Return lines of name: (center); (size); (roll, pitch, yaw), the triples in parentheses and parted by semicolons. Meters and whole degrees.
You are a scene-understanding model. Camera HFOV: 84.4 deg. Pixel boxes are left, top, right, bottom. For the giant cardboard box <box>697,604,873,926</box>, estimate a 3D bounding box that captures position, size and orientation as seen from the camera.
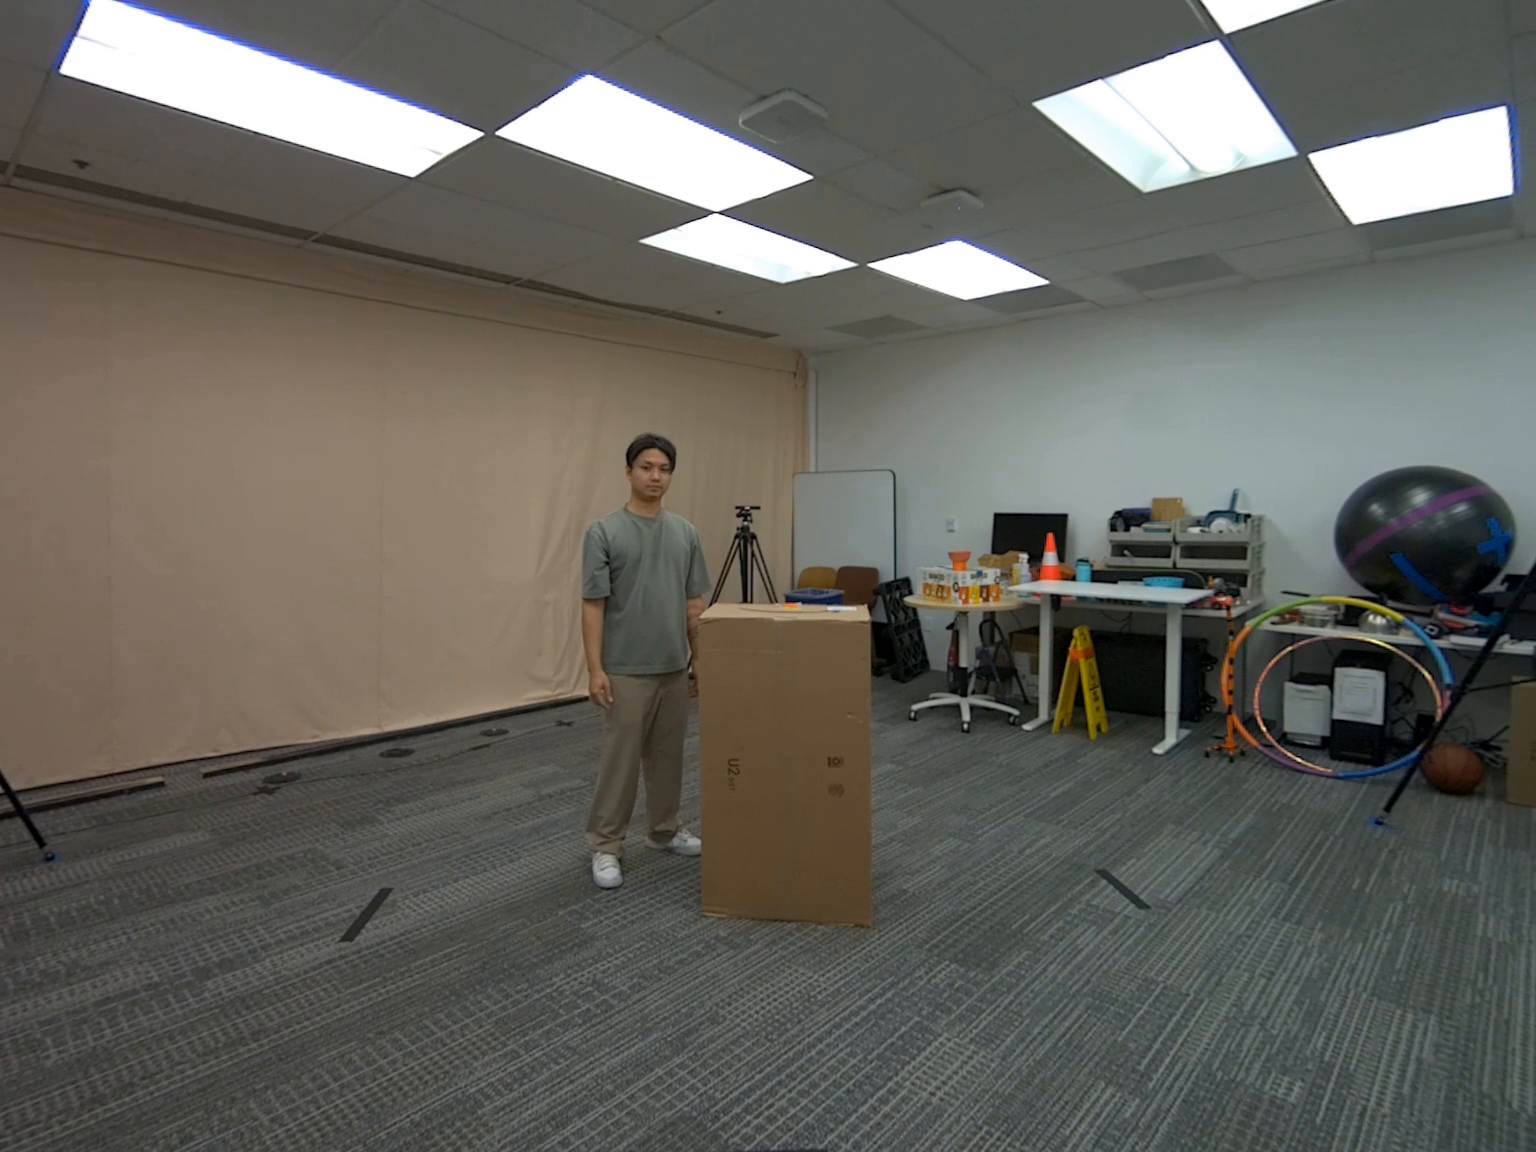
giant cardboard box: (0.081, 0.633, 3.006); (0.582, 1.024, 0.423); (0, 3, 7)
